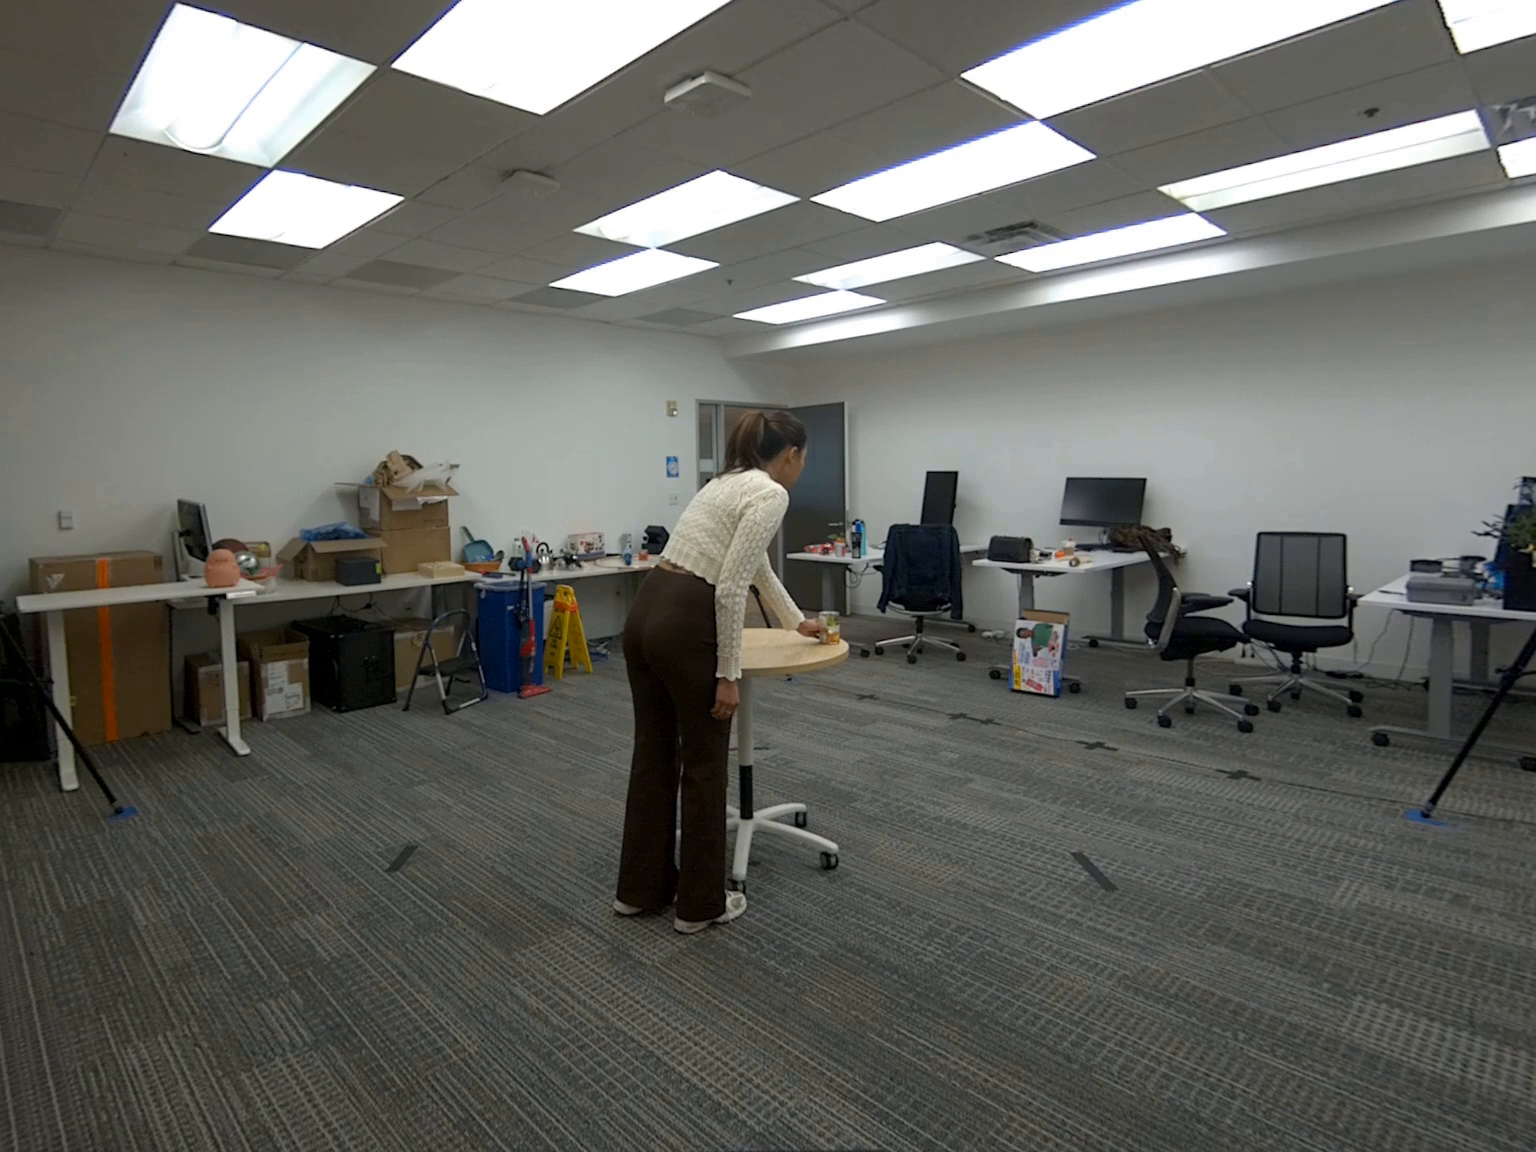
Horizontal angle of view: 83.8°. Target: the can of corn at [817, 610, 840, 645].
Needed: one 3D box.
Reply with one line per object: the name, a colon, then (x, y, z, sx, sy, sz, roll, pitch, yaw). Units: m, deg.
can of corn: (0.227, 0.190, 3.145, 0.074, 0.111, 0.074, -3, 3, -1)
